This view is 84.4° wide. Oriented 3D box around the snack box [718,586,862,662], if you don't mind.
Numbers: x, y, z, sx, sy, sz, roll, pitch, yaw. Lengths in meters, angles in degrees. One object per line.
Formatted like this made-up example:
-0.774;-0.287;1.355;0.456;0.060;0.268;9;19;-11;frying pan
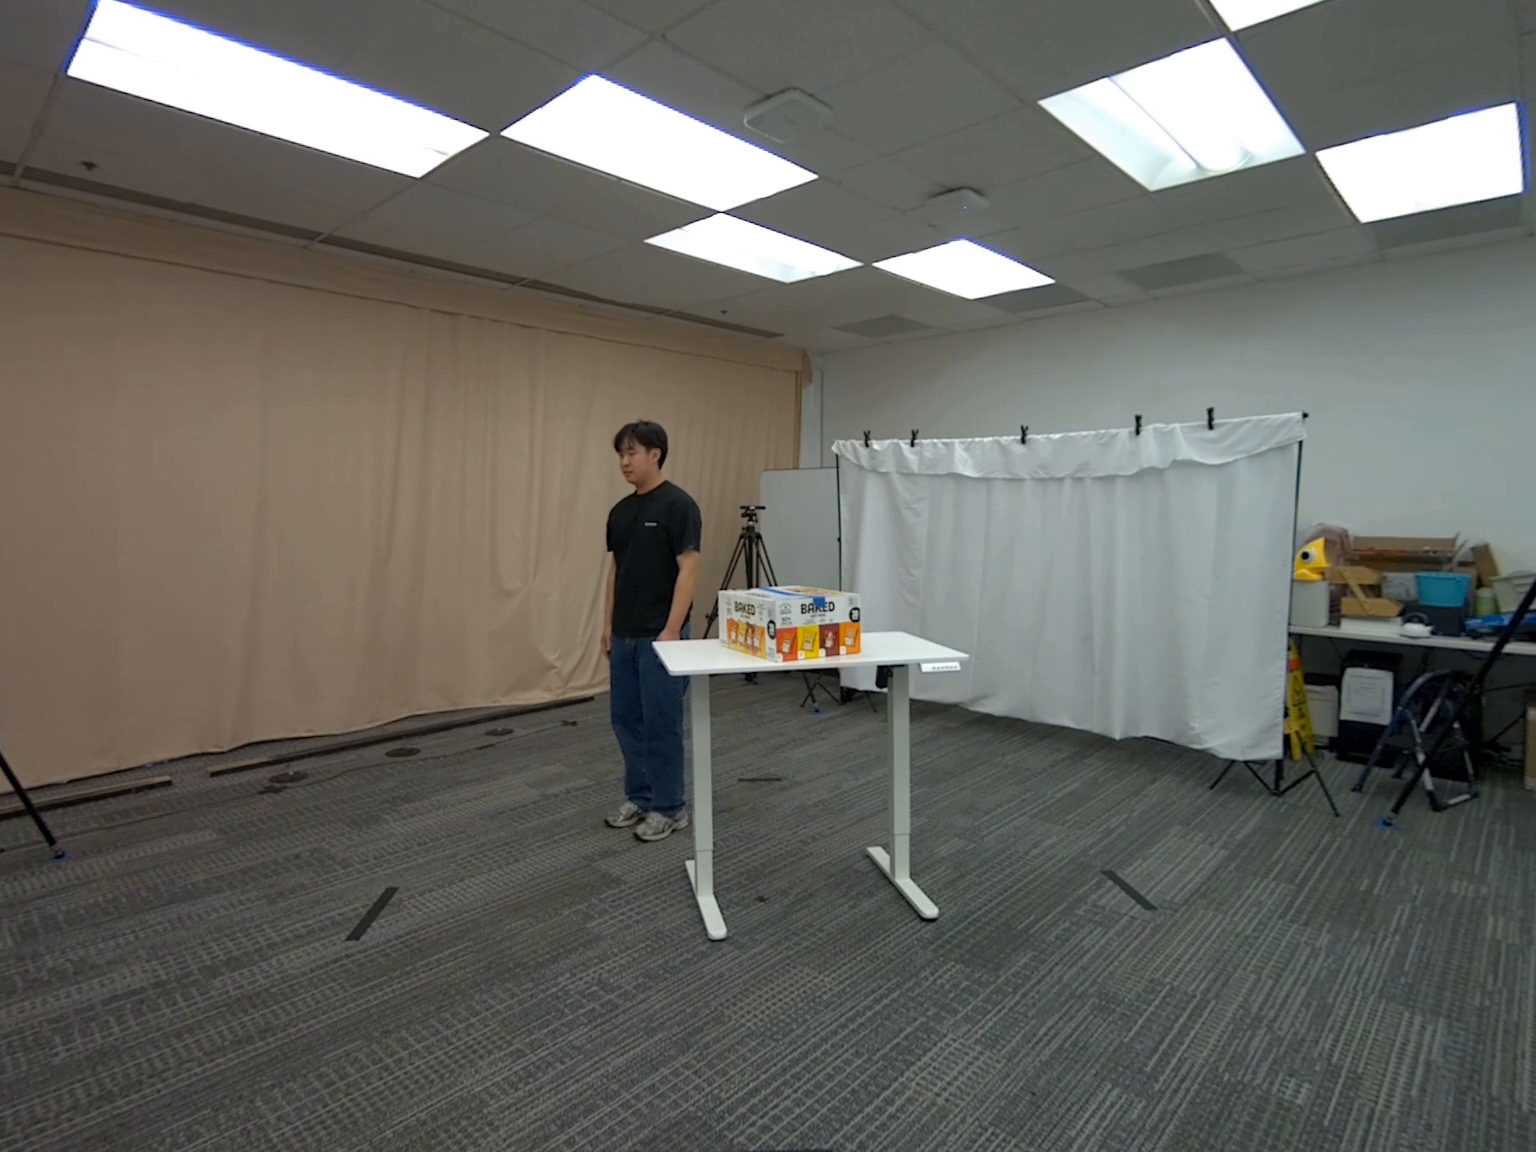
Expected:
0.071;0.160;2.977;0.331;0.205;0.416;-3;4;-29;snack box
